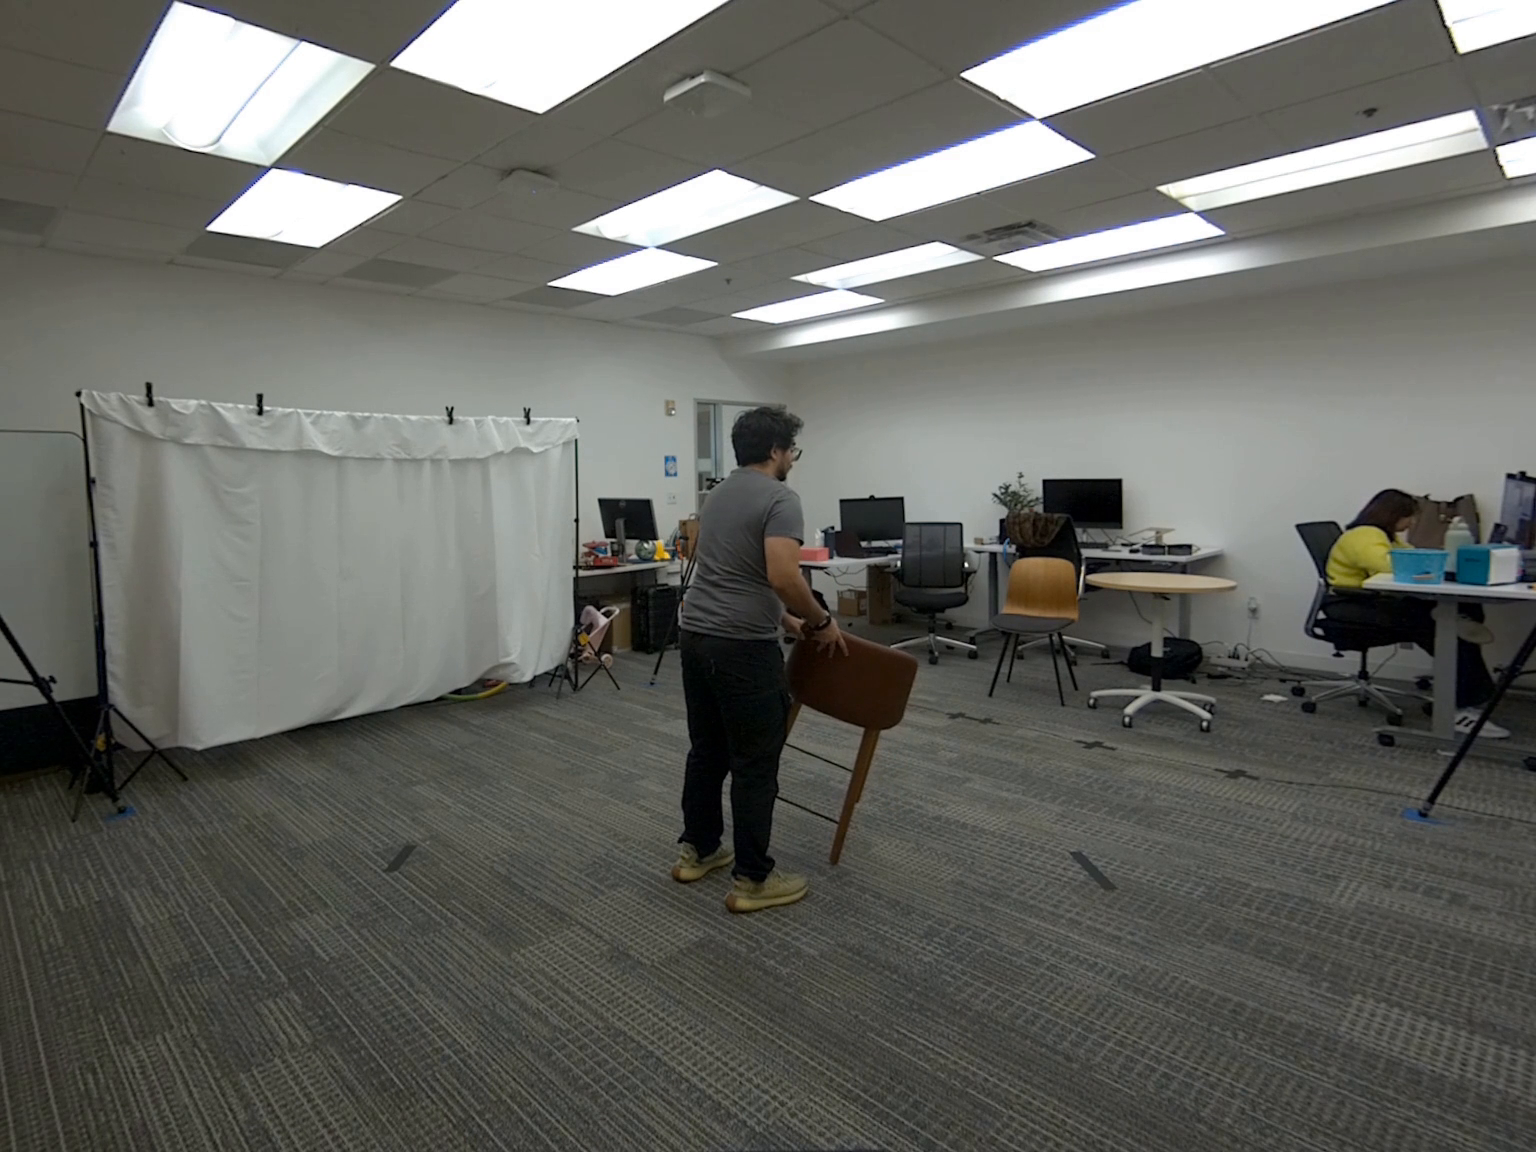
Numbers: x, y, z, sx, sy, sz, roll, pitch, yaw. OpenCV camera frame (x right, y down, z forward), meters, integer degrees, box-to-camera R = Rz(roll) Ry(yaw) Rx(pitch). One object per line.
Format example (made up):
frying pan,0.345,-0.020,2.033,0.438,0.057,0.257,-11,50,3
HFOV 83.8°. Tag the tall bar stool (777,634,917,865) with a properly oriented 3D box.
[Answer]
tall bar stool,0.241,0.531,3.180,0.462,0.879,0.467,20,21,9
